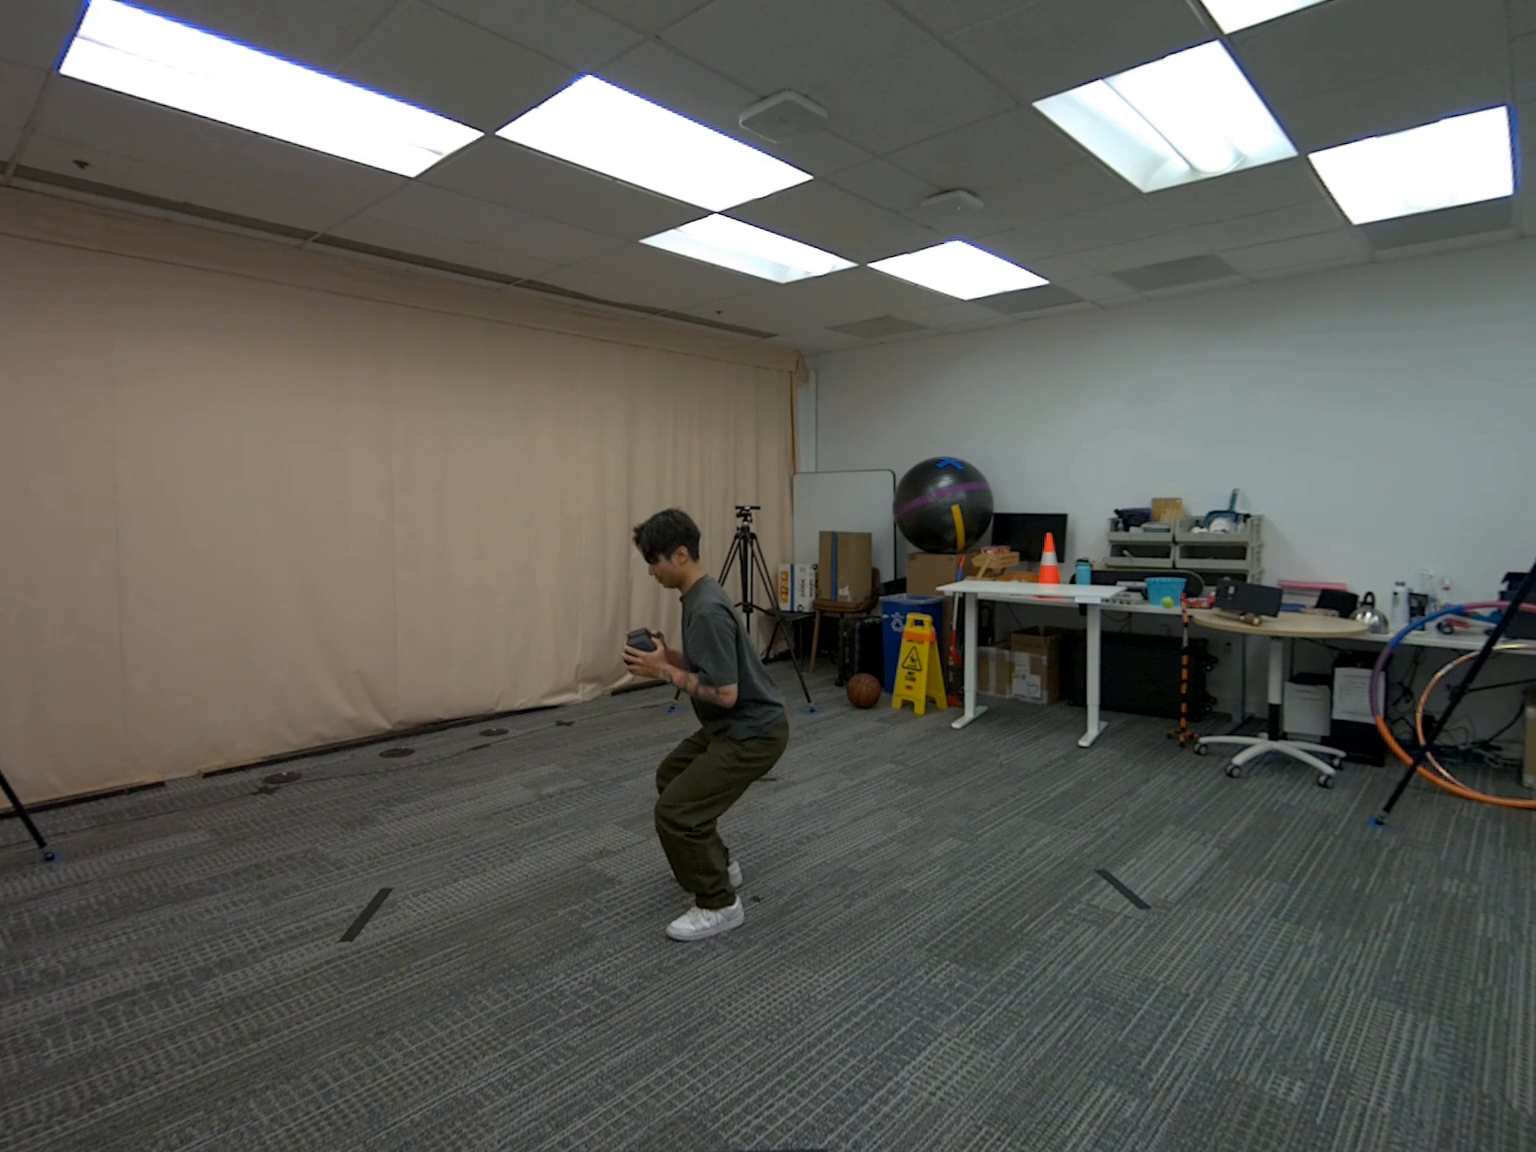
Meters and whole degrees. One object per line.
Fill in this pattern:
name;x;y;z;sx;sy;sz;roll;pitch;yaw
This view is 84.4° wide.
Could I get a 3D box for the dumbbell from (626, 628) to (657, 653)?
dumbbell;-0.431;0.250;2.935;0.122;0.108;0.295;44;-3;-6
